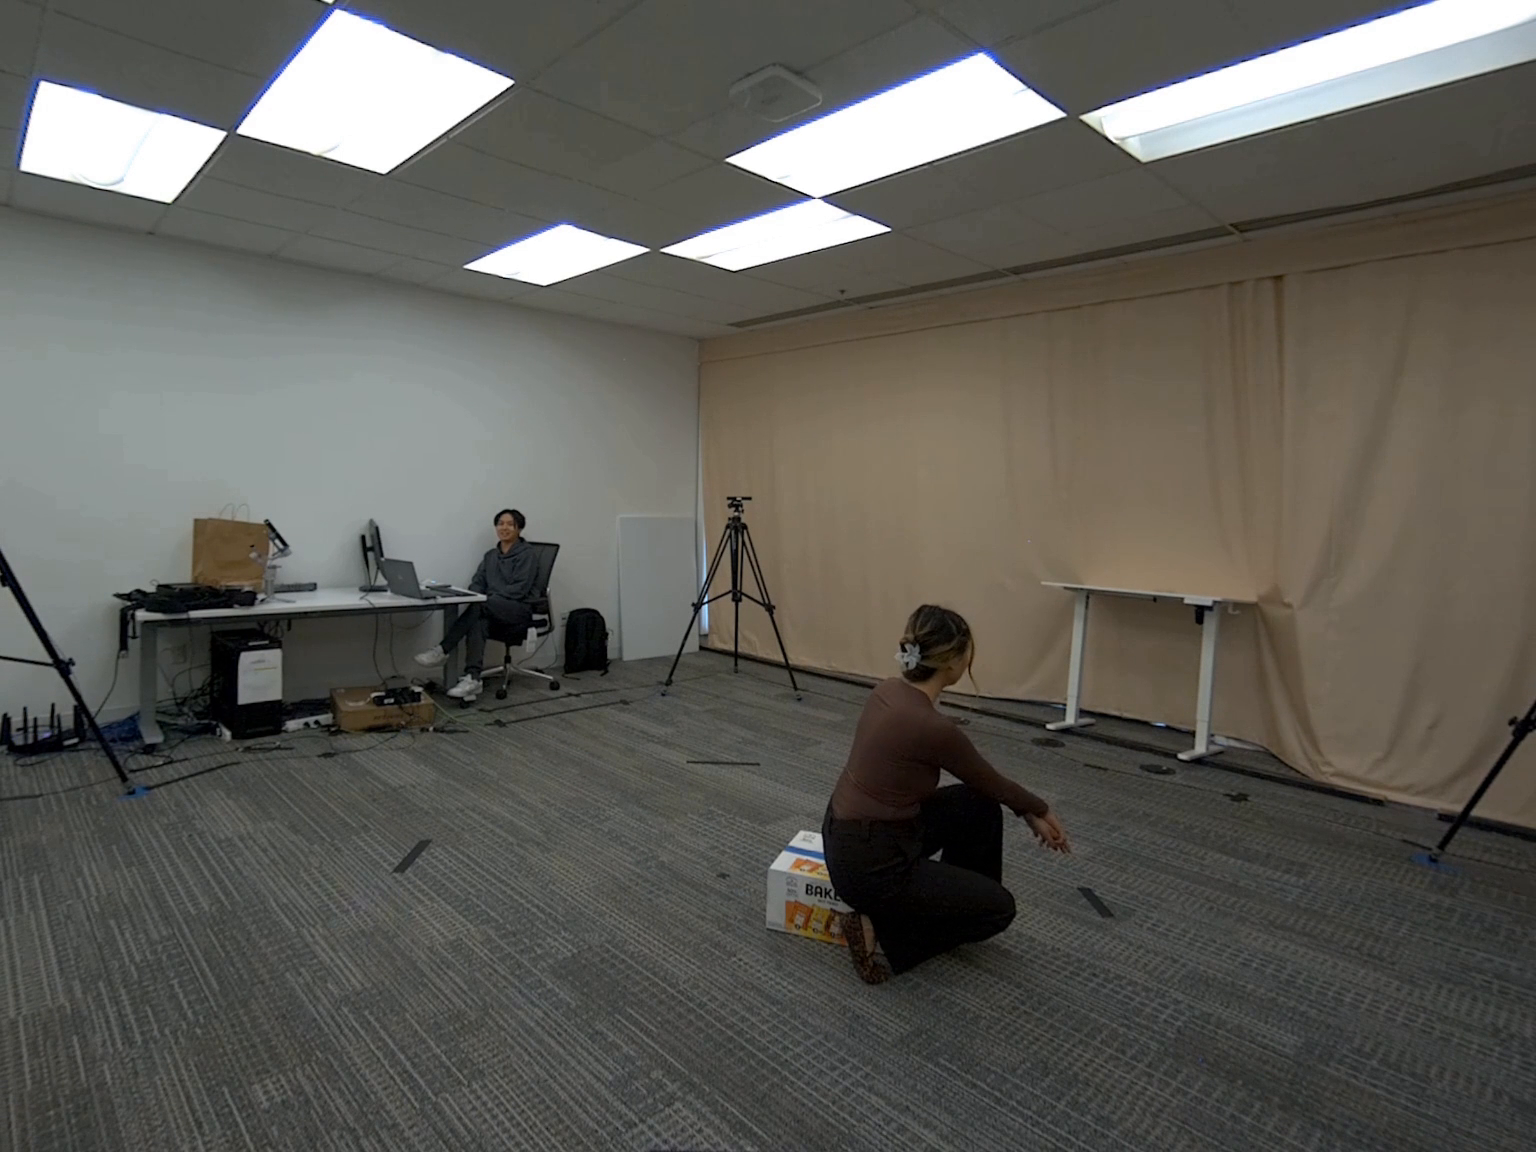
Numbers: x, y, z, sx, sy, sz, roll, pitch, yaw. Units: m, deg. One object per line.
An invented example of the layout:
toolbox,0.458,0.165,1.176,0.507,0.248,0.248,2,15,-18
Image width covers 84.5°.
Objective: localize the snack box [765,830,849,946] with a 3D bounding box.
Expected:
snack box,0.242,1.041,2.797,0.412,0.205,0.336,3,6,21
